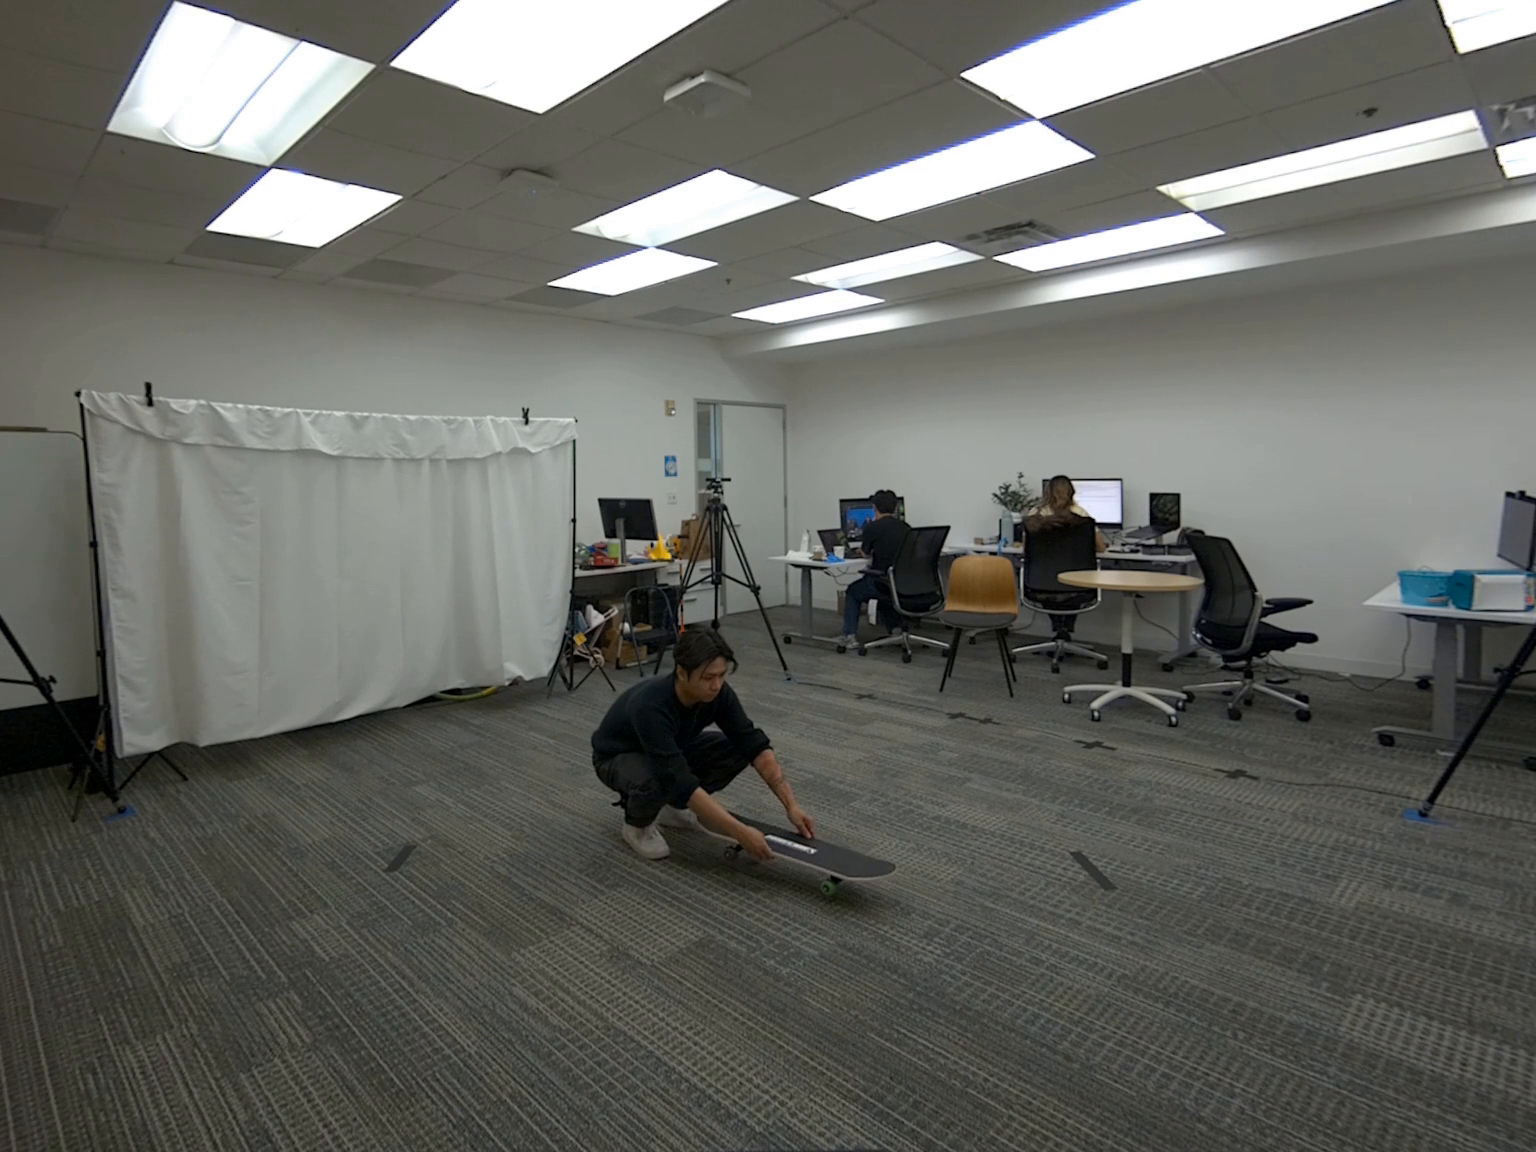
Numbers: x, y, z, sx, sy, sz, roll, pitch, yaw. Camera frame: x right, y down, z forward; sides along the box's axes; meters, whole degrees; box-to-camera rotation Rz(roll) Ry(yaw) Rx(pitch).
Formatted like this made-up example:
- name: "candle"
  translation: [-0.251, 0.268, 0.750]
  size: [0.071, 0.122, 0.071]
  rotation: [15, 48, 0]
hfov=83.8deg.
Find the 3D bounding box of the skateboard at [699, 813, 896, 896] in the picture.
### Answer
- name: "skateboard"
  translation: [0.078, 0.966, 2.972]
  size: [0.808, 0.110, 0.189]
  rotation: [5, 7, 34]
